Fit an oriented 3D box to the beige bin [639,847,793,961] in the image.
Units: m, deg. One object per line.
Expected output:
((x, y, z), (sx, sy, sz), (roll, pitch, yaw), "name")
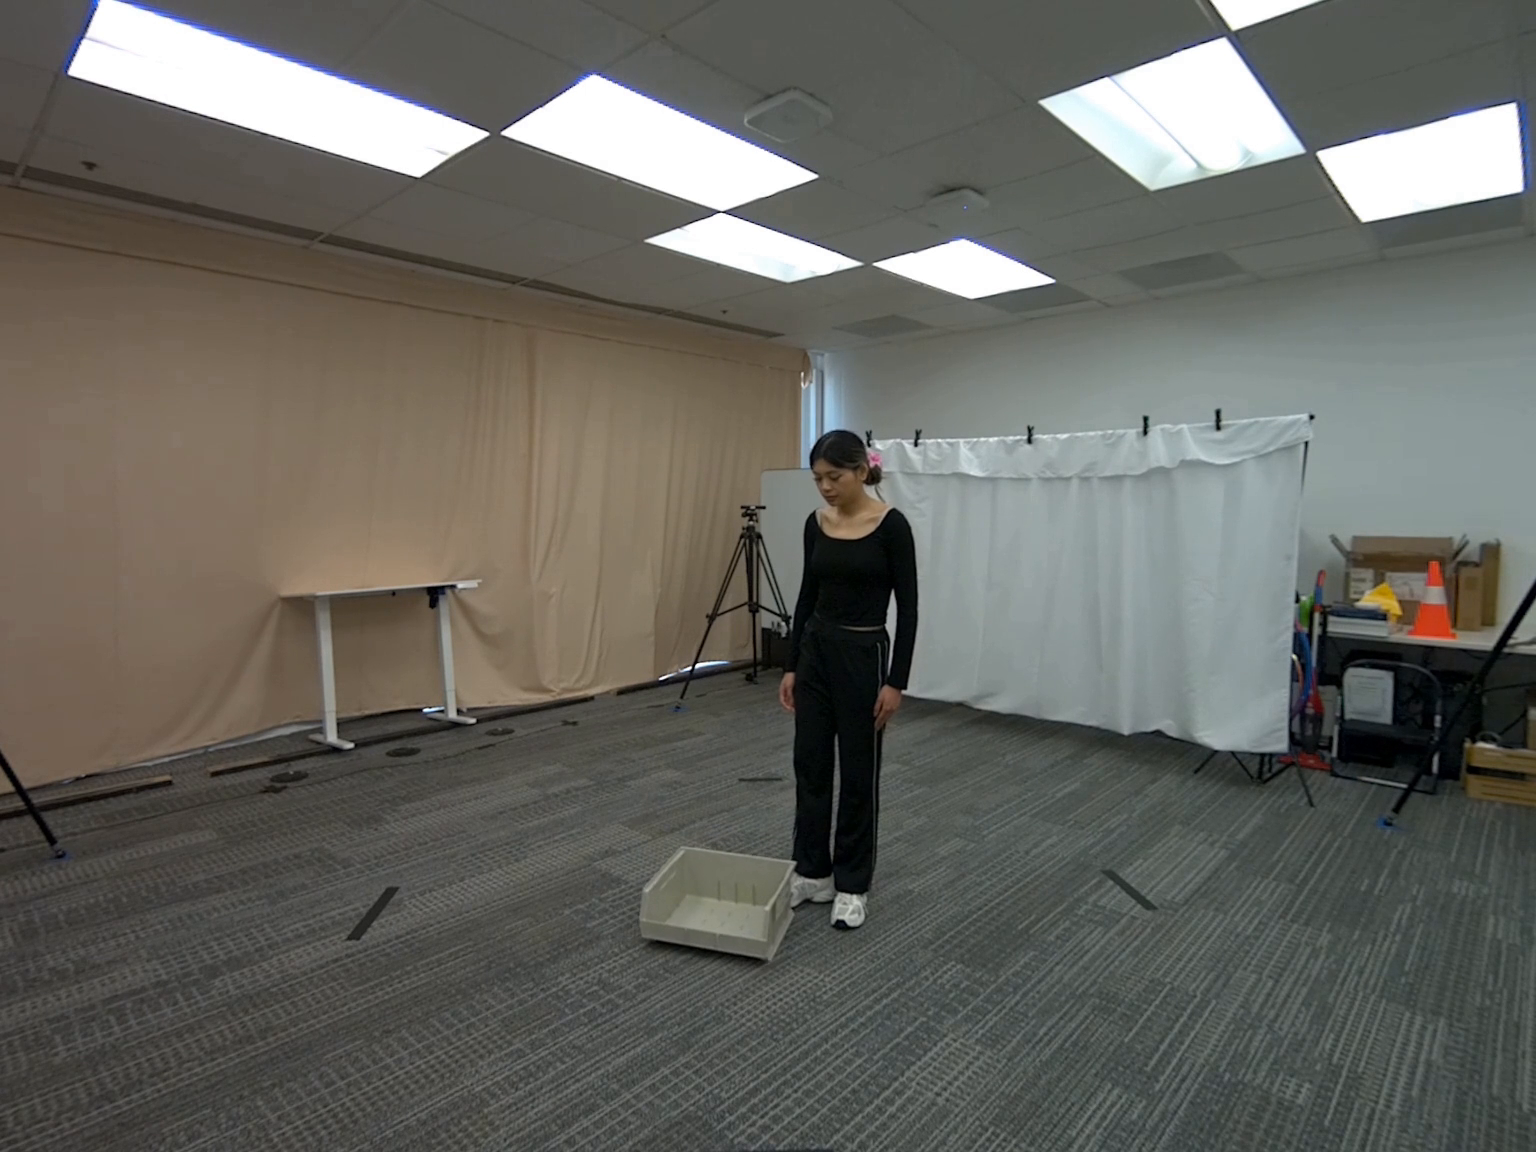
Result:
((-0.155, 1.079, 2.757), (0.430, 0.188, 0.371), (0, 4, 17), "beige bin")
